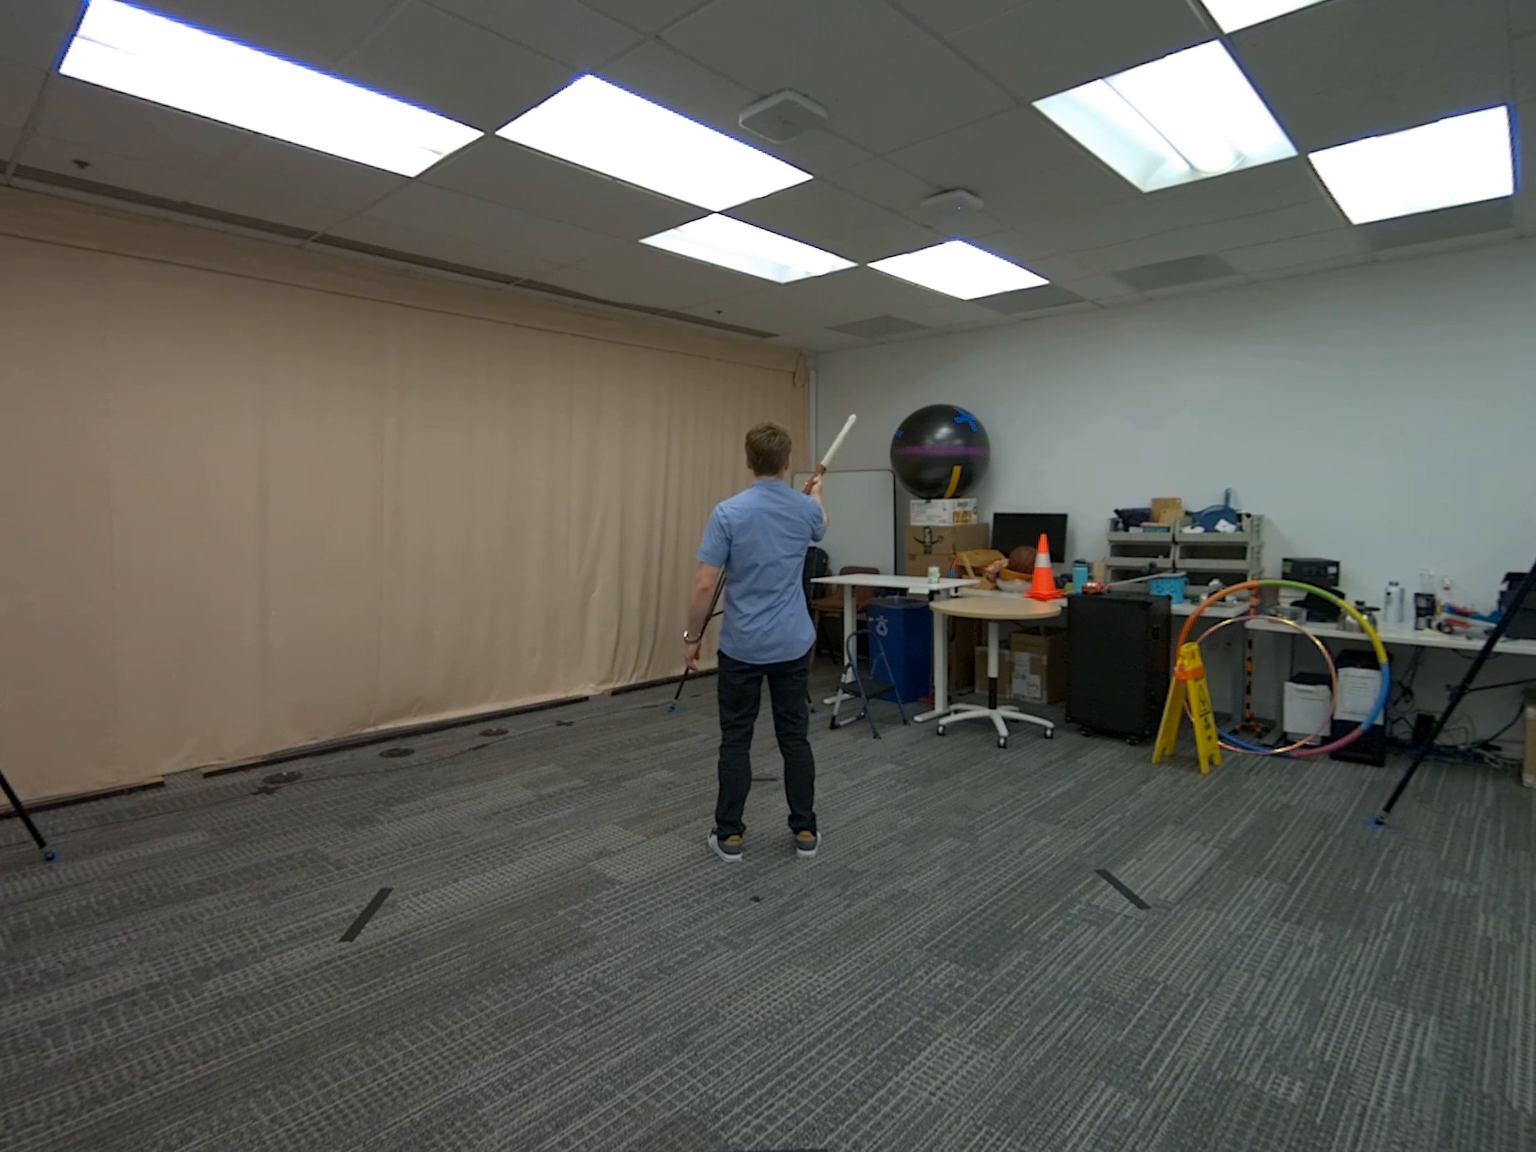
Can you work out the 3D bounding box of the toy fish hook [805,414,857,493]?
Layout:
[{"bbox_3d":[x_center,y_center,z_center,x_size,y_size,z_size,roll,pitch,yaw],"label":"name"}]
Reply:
[{"bbox_3d":[0.271,-0.521,4.036,0.048,0.506,0.223,30,-12,1],"label":"toy fish hook"}]
